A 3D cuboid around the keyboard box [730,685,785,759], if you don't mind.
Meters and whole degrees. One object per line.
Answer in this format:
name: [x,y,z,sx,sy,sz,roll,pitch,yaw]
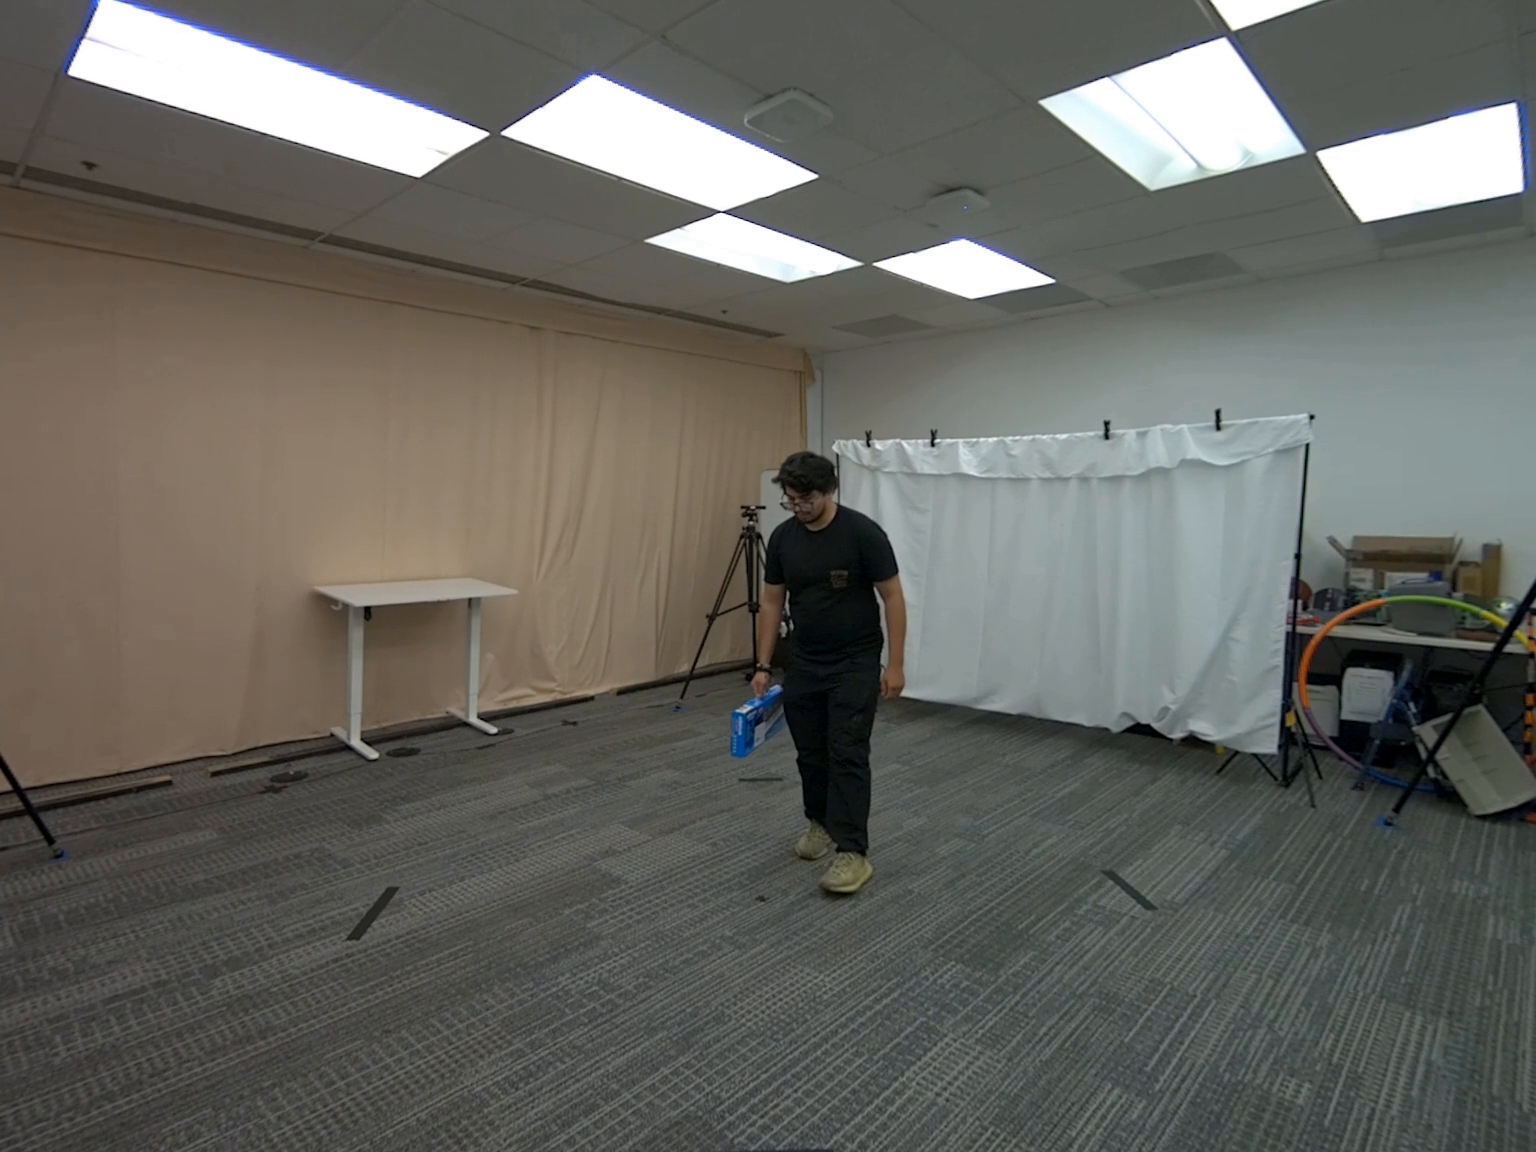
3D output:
keyboard box: [-0.025,0.572,3.359,0.060,0.175,0.428,4,8,23]
